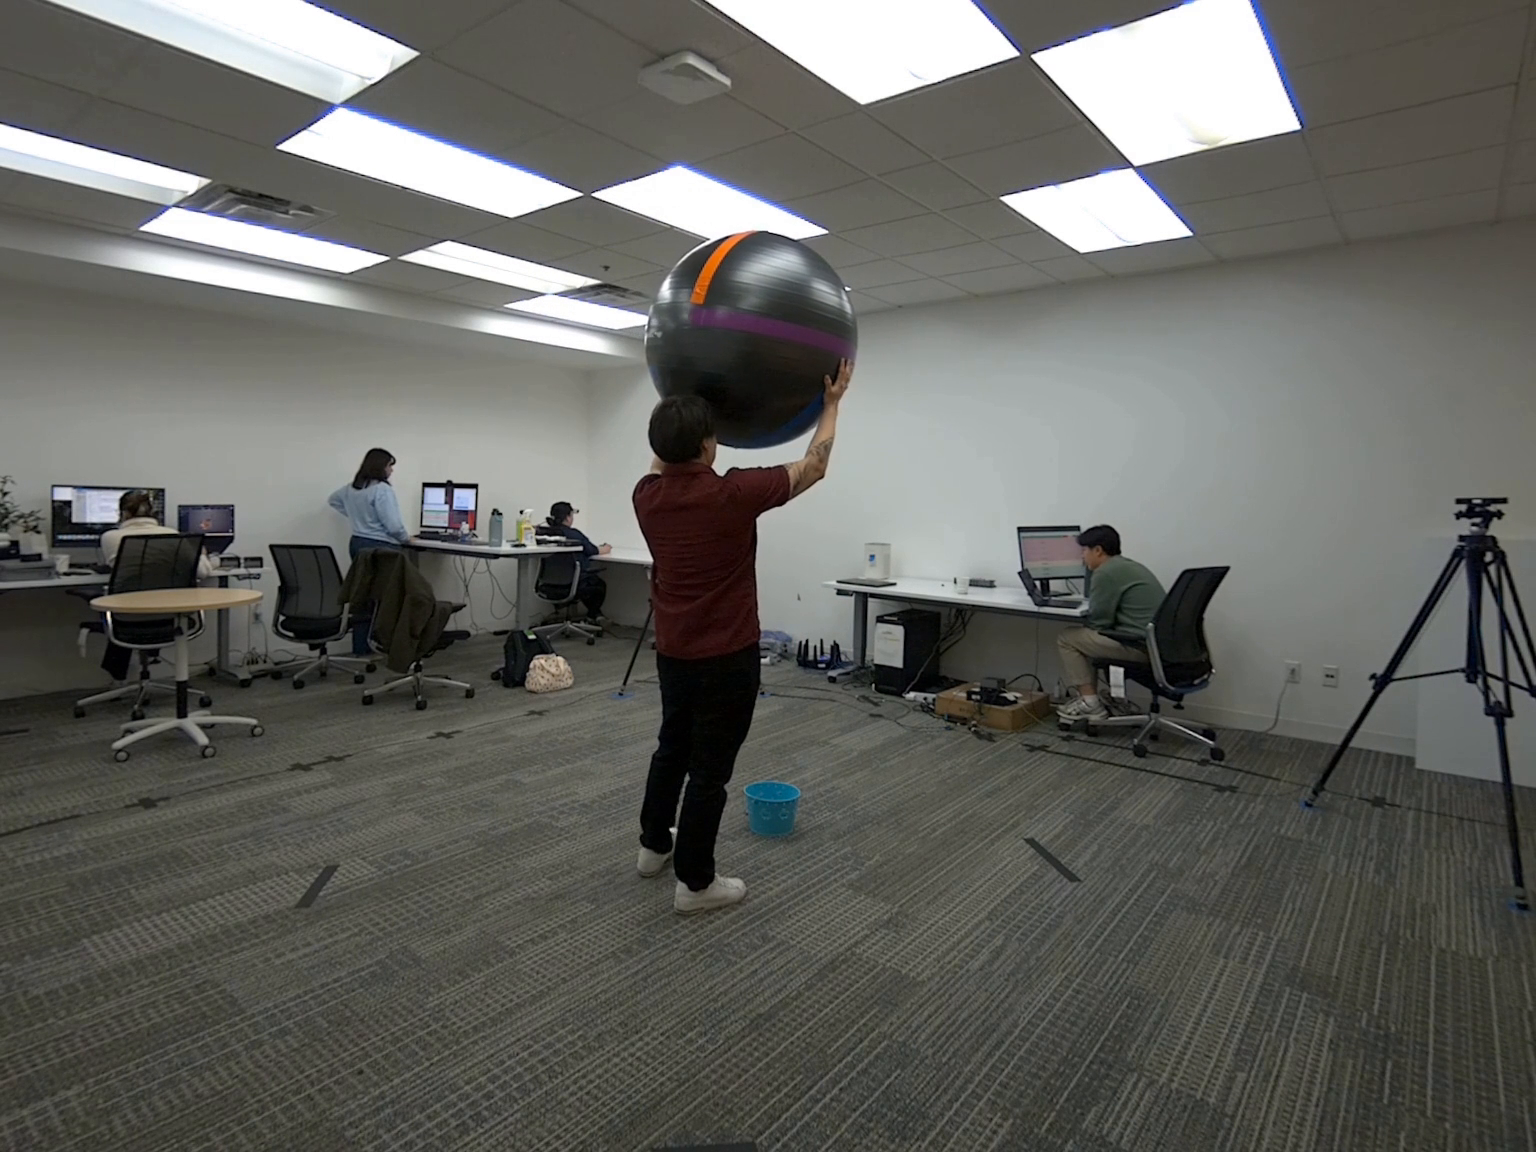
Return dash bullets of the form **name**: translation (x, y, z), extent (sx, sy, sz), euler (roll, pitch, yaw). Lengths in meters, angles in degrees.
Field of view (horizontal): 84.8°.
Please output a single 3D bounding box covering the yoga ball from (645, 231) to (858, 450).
- **yoga ball**: translation (-0.074, -0.835, 3.048), extent (0.757, 0.755, 0.762), euler (1, 4, -2)
